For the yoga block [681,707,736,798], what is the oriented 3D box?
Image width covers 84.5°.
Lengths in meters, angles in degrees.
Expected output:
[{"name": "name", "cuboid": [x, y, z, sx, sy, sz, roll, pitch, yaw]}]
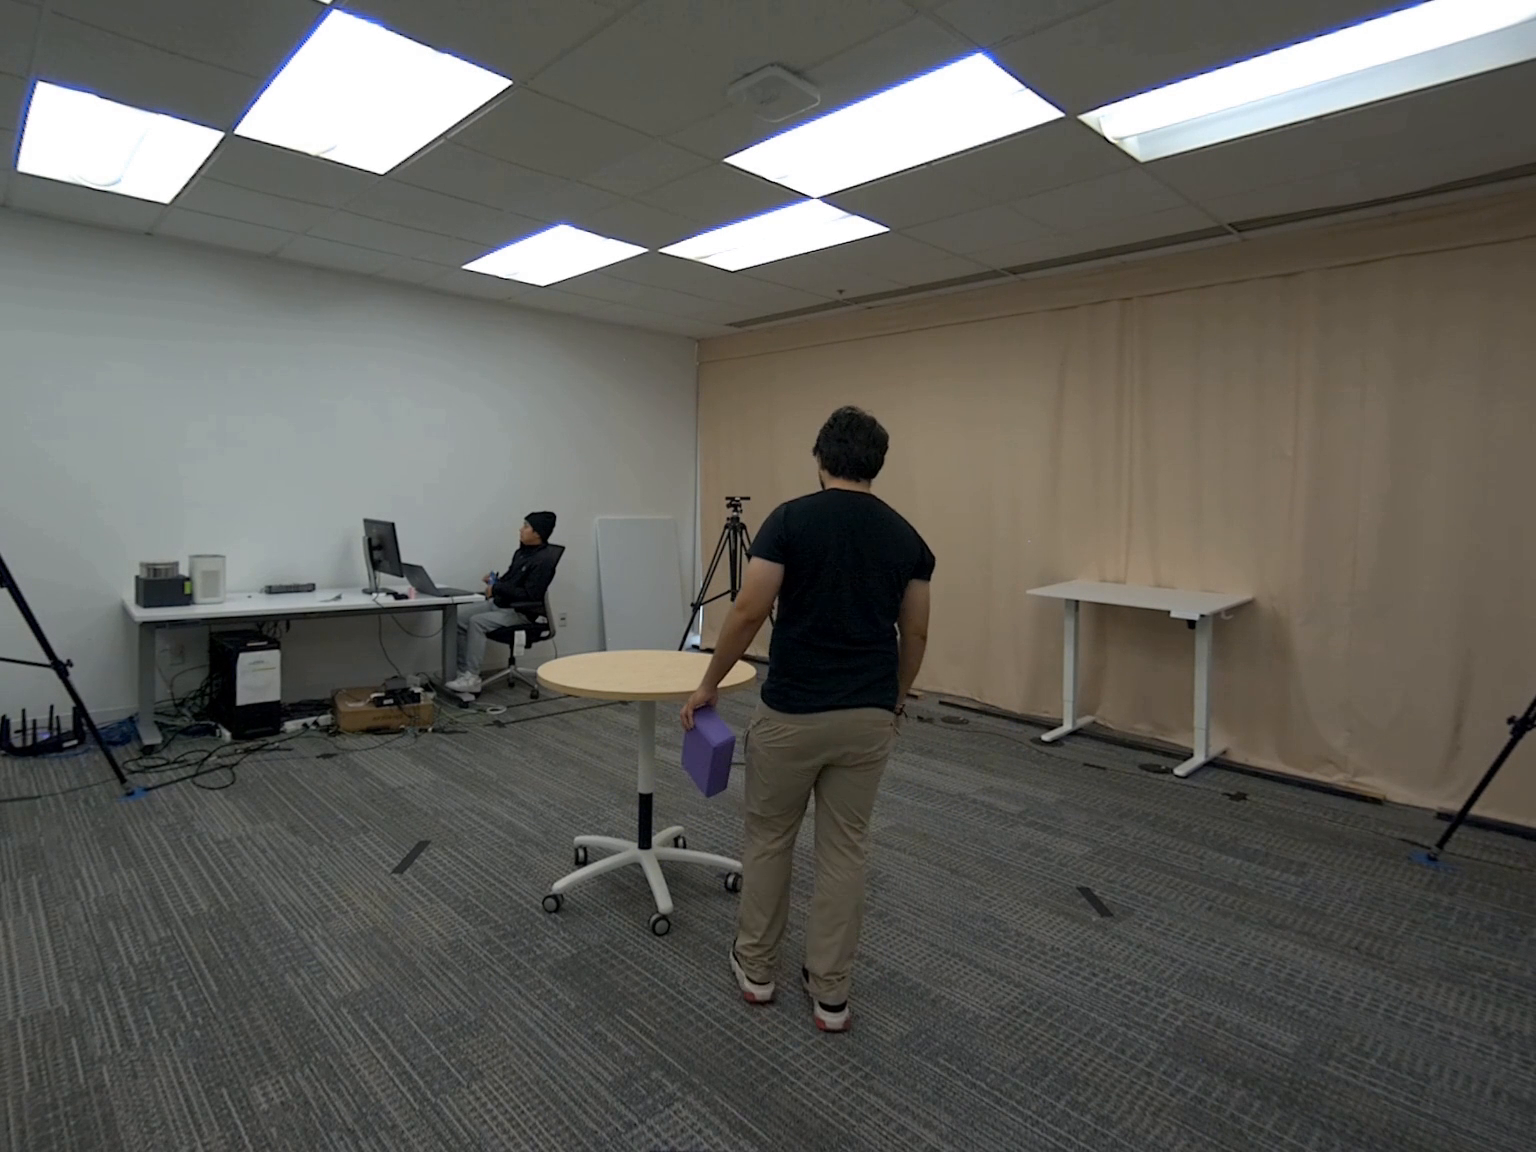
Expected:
[{"name": "yoga block", "cuboid": [-0.172, 0.497, 2.375, 0.075, 0.225, 0.154, -15, 44, -31]}]
